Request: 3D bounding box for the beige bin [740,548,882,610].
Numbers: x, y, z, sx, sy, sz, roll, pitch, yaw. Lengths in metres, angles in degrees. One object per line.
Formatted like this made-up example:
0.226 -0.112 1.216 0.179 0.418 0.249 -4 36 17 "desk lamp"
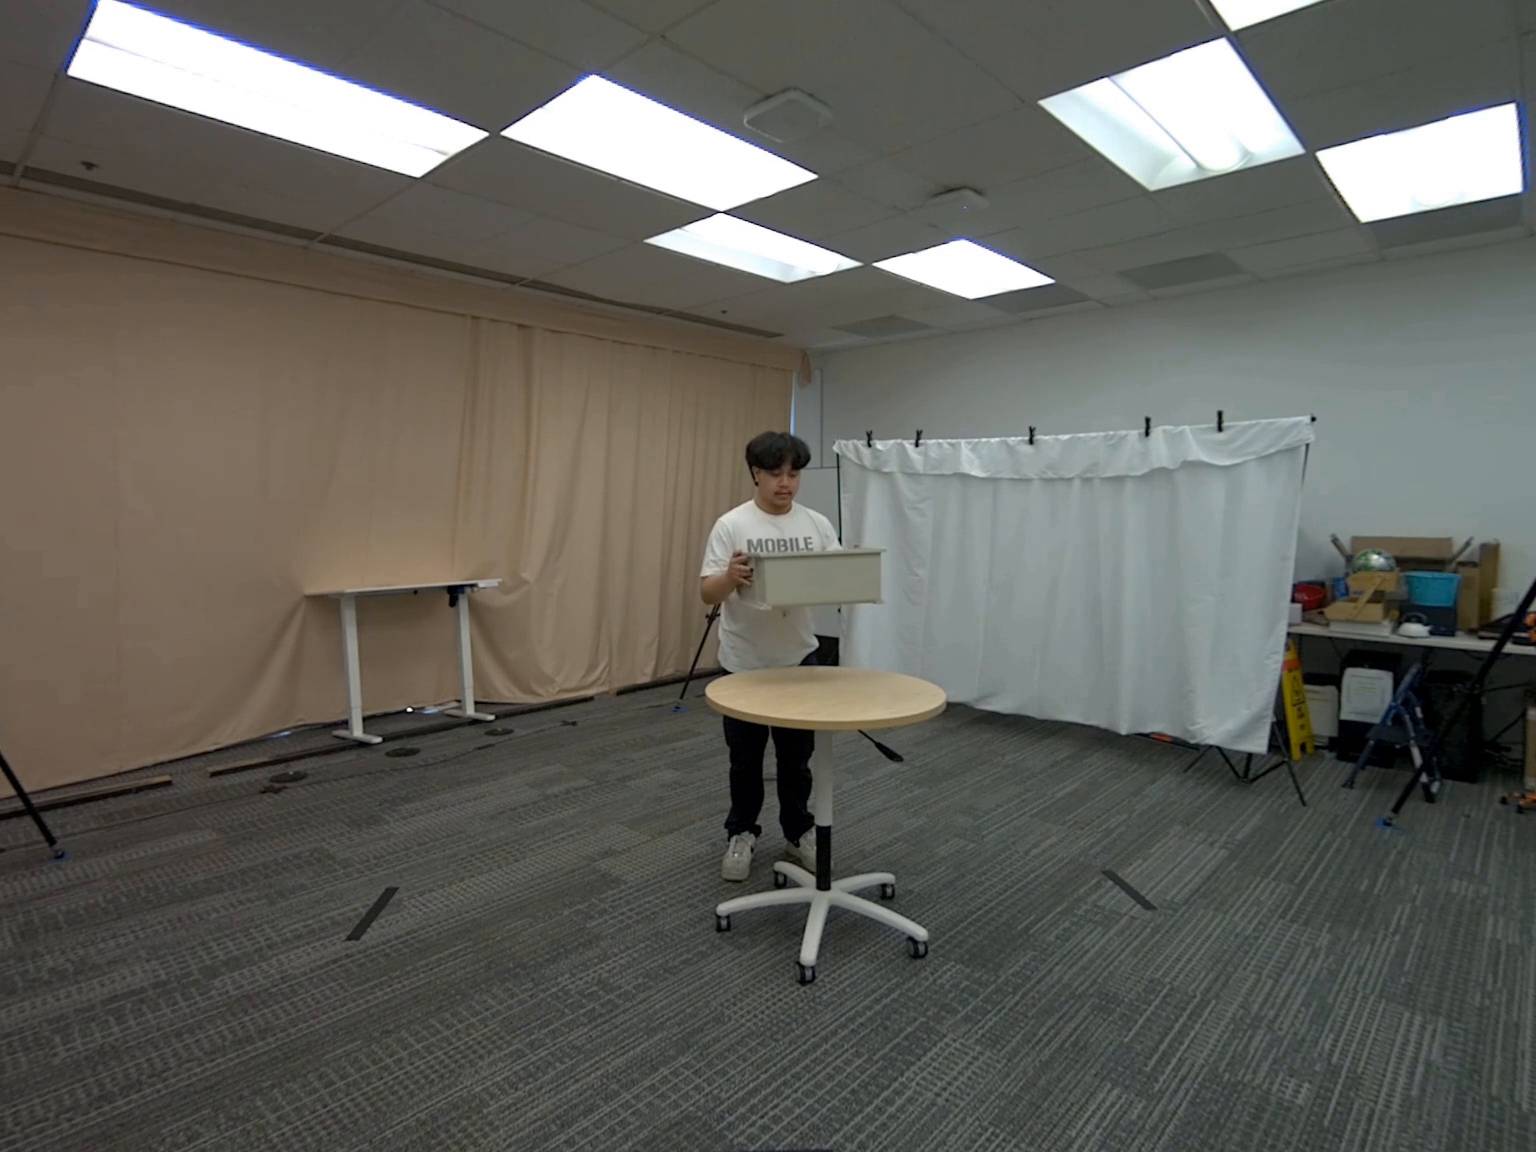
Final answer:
0.129 0.016 2.831 0.416 0.188 0.383 0 4 -14 "beige bin"
